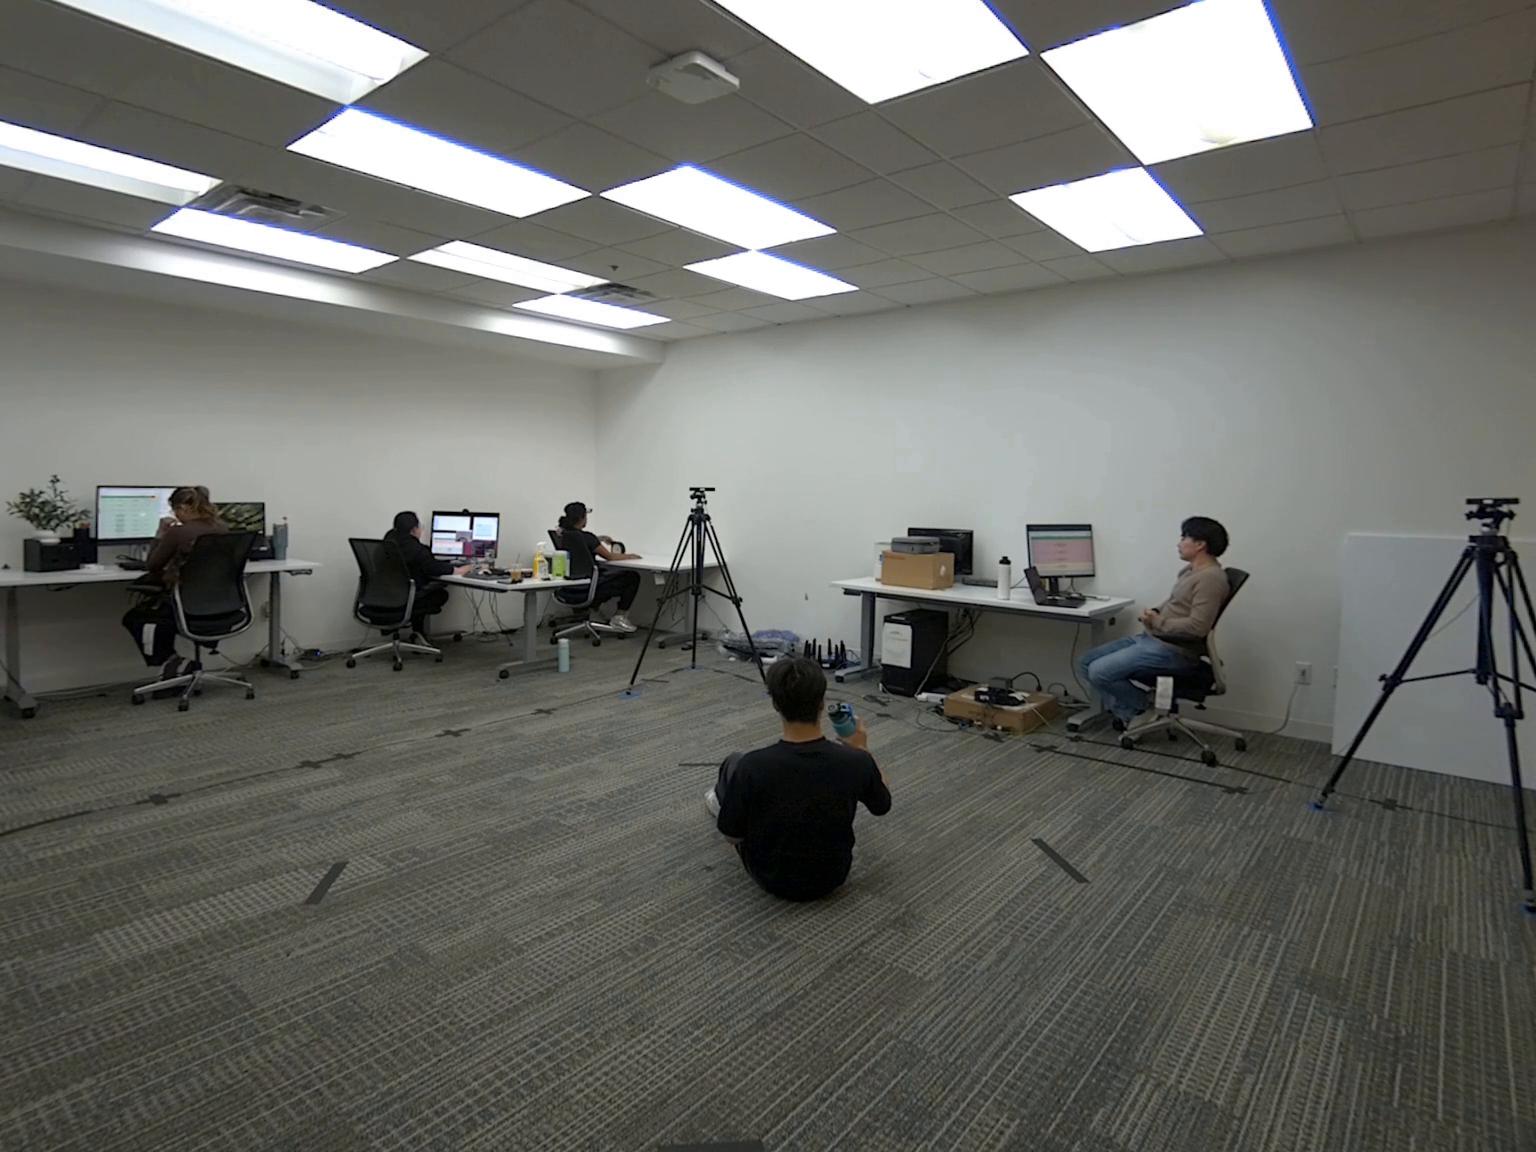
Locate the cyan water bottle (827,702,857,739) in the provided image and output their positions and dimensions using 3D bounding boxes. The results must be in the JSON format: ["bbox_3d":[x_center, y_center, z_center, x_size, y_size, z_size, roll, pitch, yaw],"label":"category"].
[{"bbox_3d":[0.300,0.595,3.323,0.093,0.274,0.095,-17,32,10],"label":"cyan water bottle"}]
